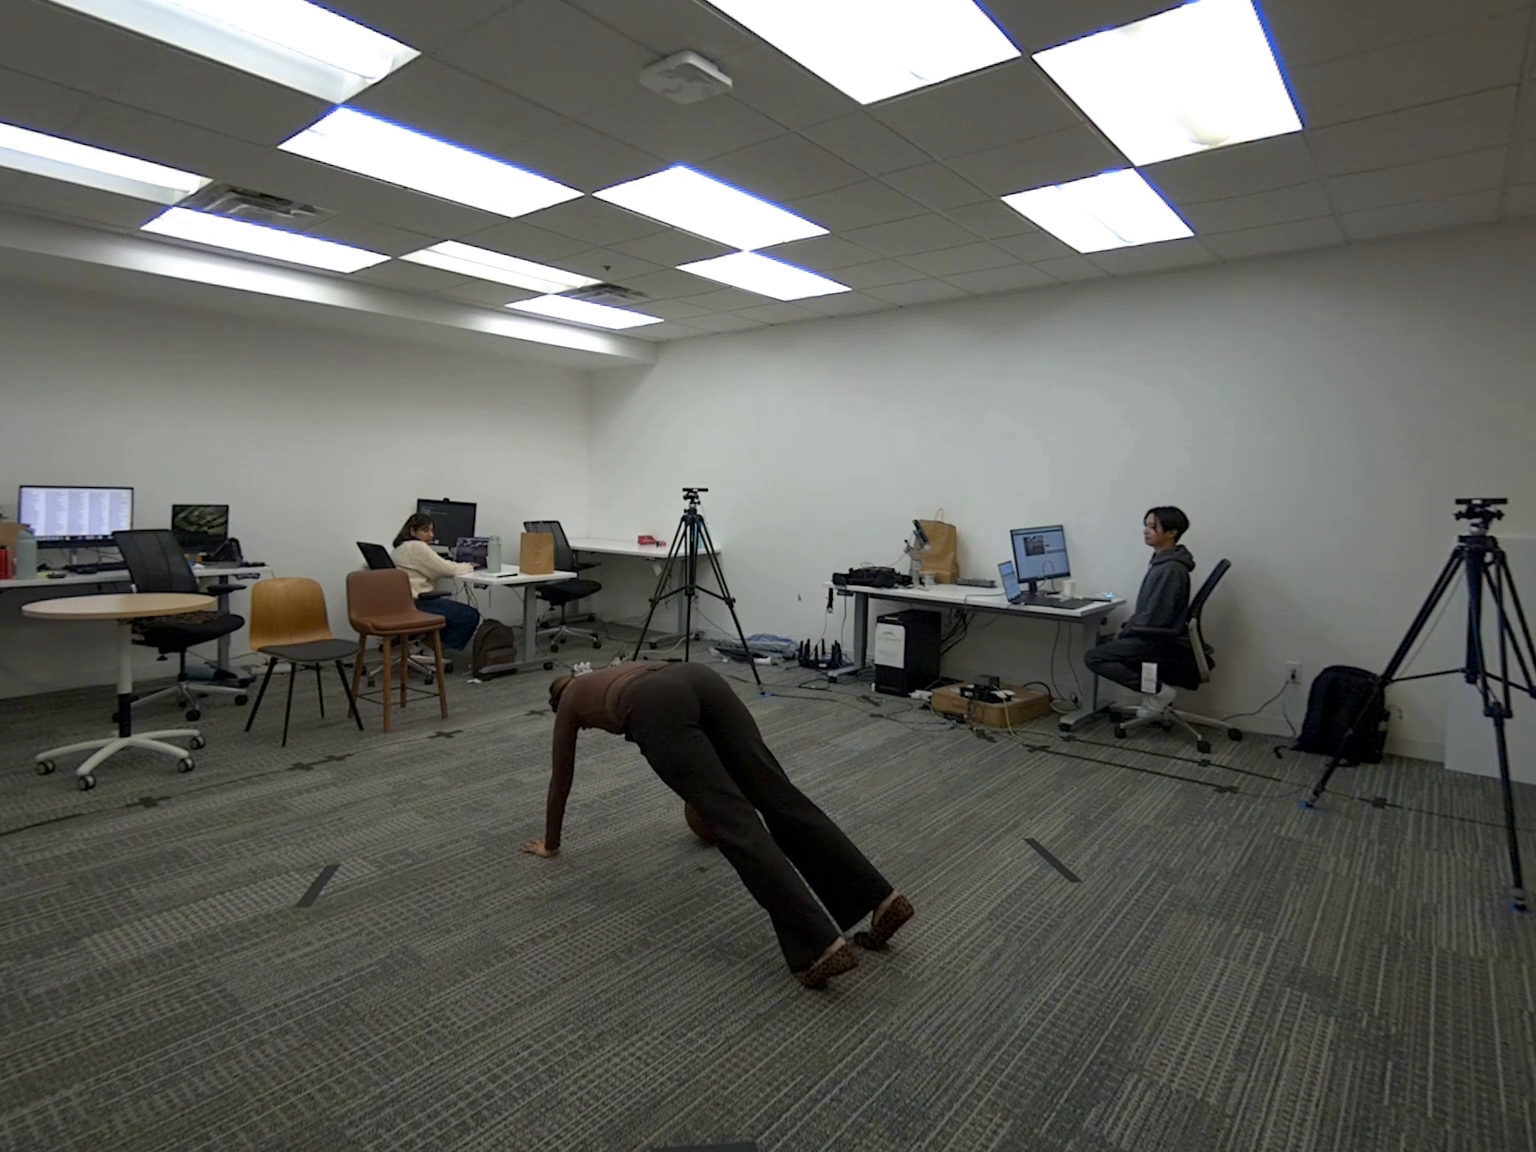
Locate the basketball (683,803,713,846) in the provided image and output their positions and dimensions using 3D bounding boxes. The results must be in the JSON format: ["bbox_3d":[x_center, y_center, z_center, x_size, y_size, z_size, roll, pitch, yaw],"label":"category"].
[{"bbox_3d":[-0.219,0.920,3.382,0.236,0.235,0.237,1,4,-2],"label":"basketball"}]
